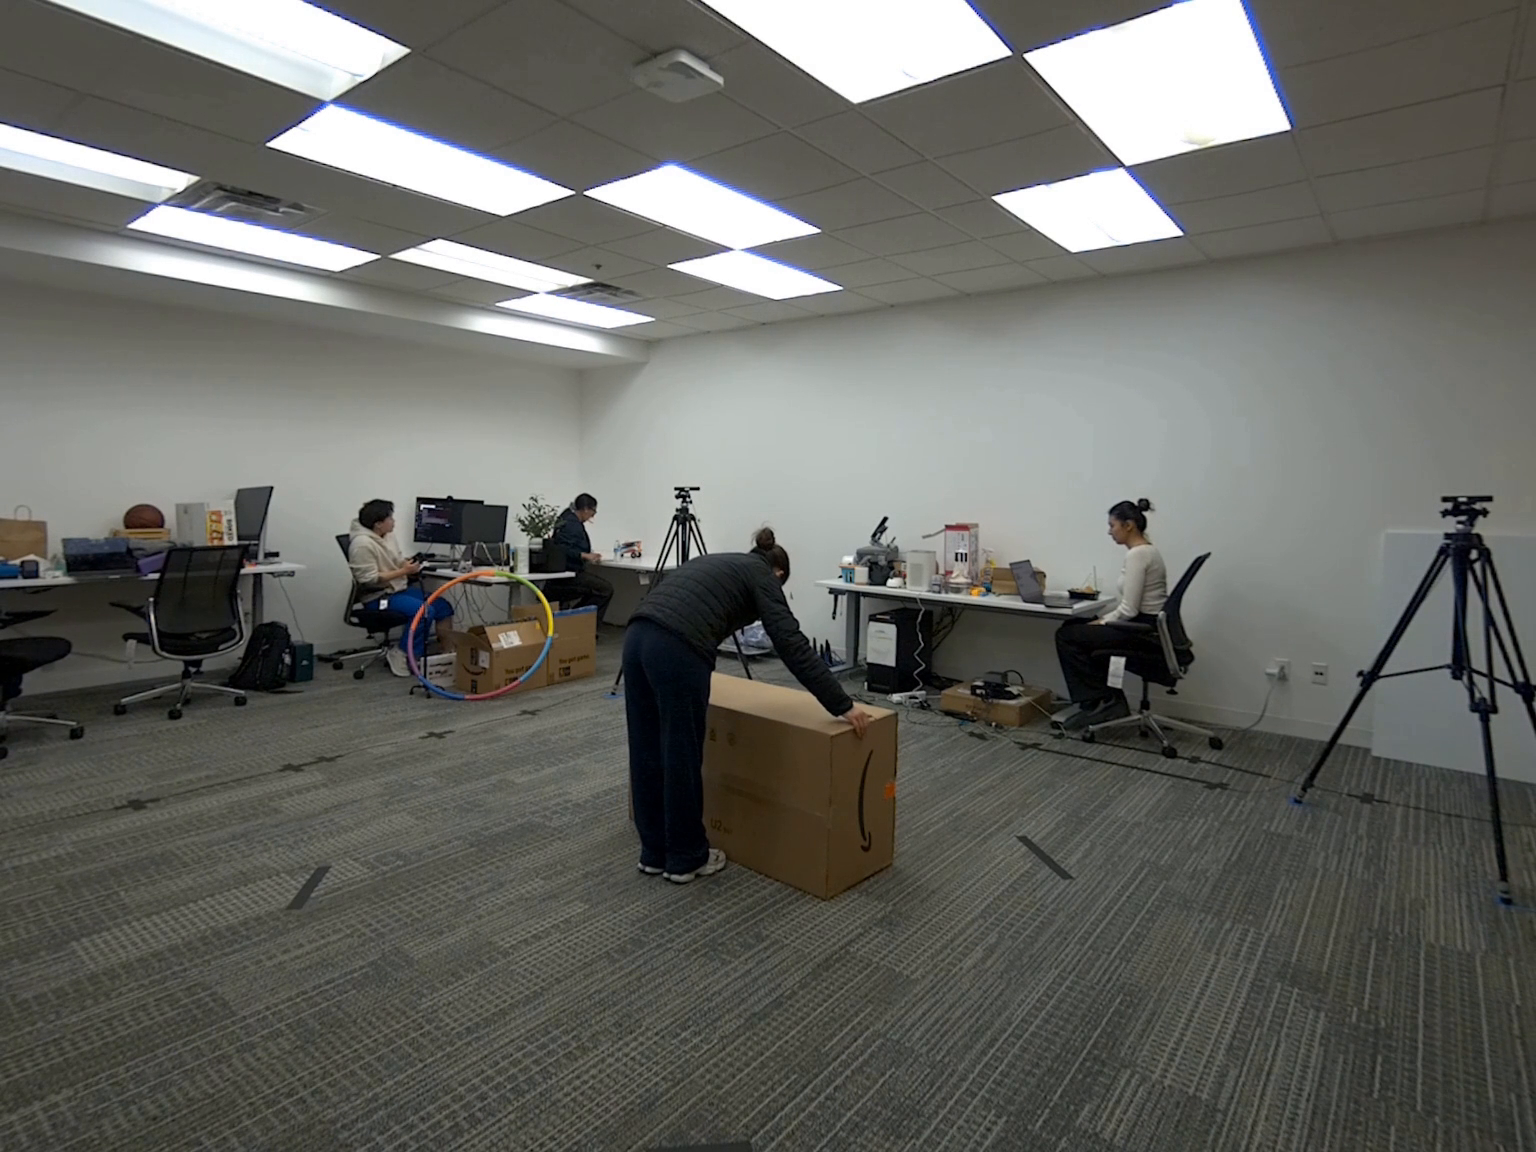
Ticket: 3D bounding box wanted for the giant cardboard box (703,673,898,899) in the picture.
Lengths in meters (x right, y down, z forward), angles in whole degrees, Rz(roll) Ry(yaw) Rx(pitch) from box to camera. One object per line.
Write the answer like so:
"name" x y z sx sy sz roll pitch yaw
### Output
"giant cardboard box" -0.032 0.755 3.369 1.062 0.581 0.433 6 7 43
